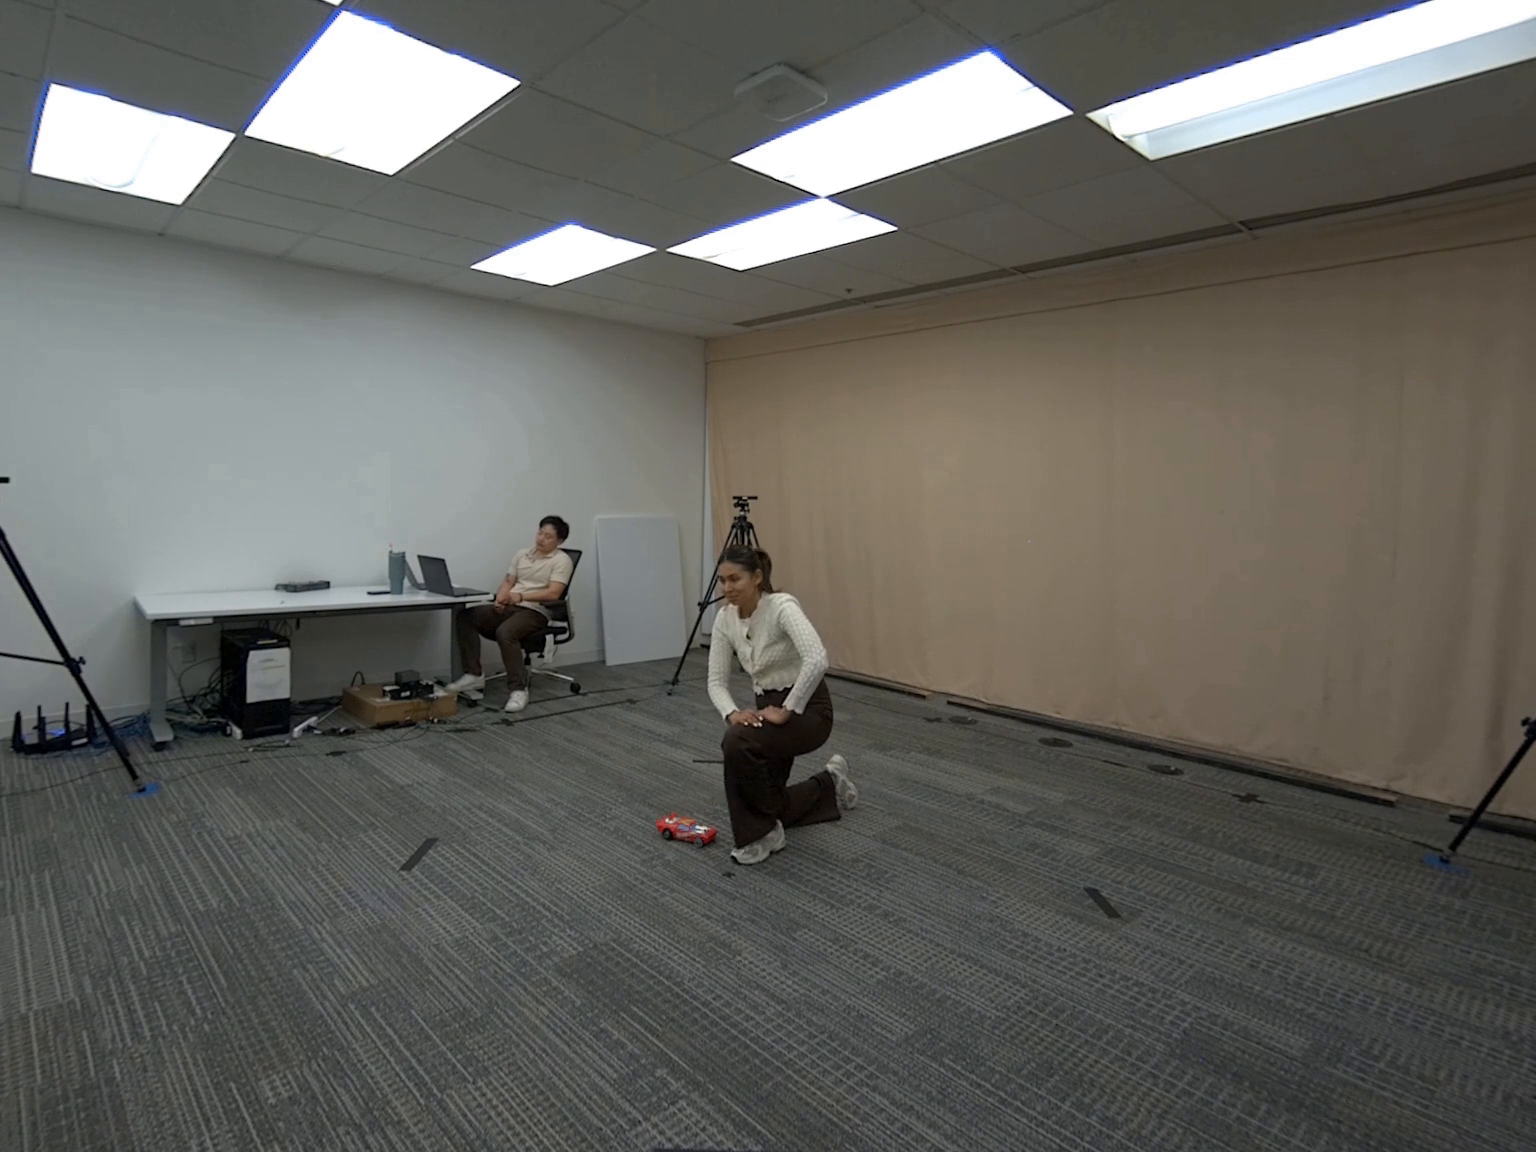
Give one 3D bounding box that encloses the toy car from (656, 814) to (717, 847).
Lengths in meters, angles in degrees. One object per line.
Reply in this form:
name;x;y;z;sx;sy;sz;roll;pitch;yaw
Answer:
toy car;-0.351;1.037;3.428;0.260;0.083;0.128;16;11;25
